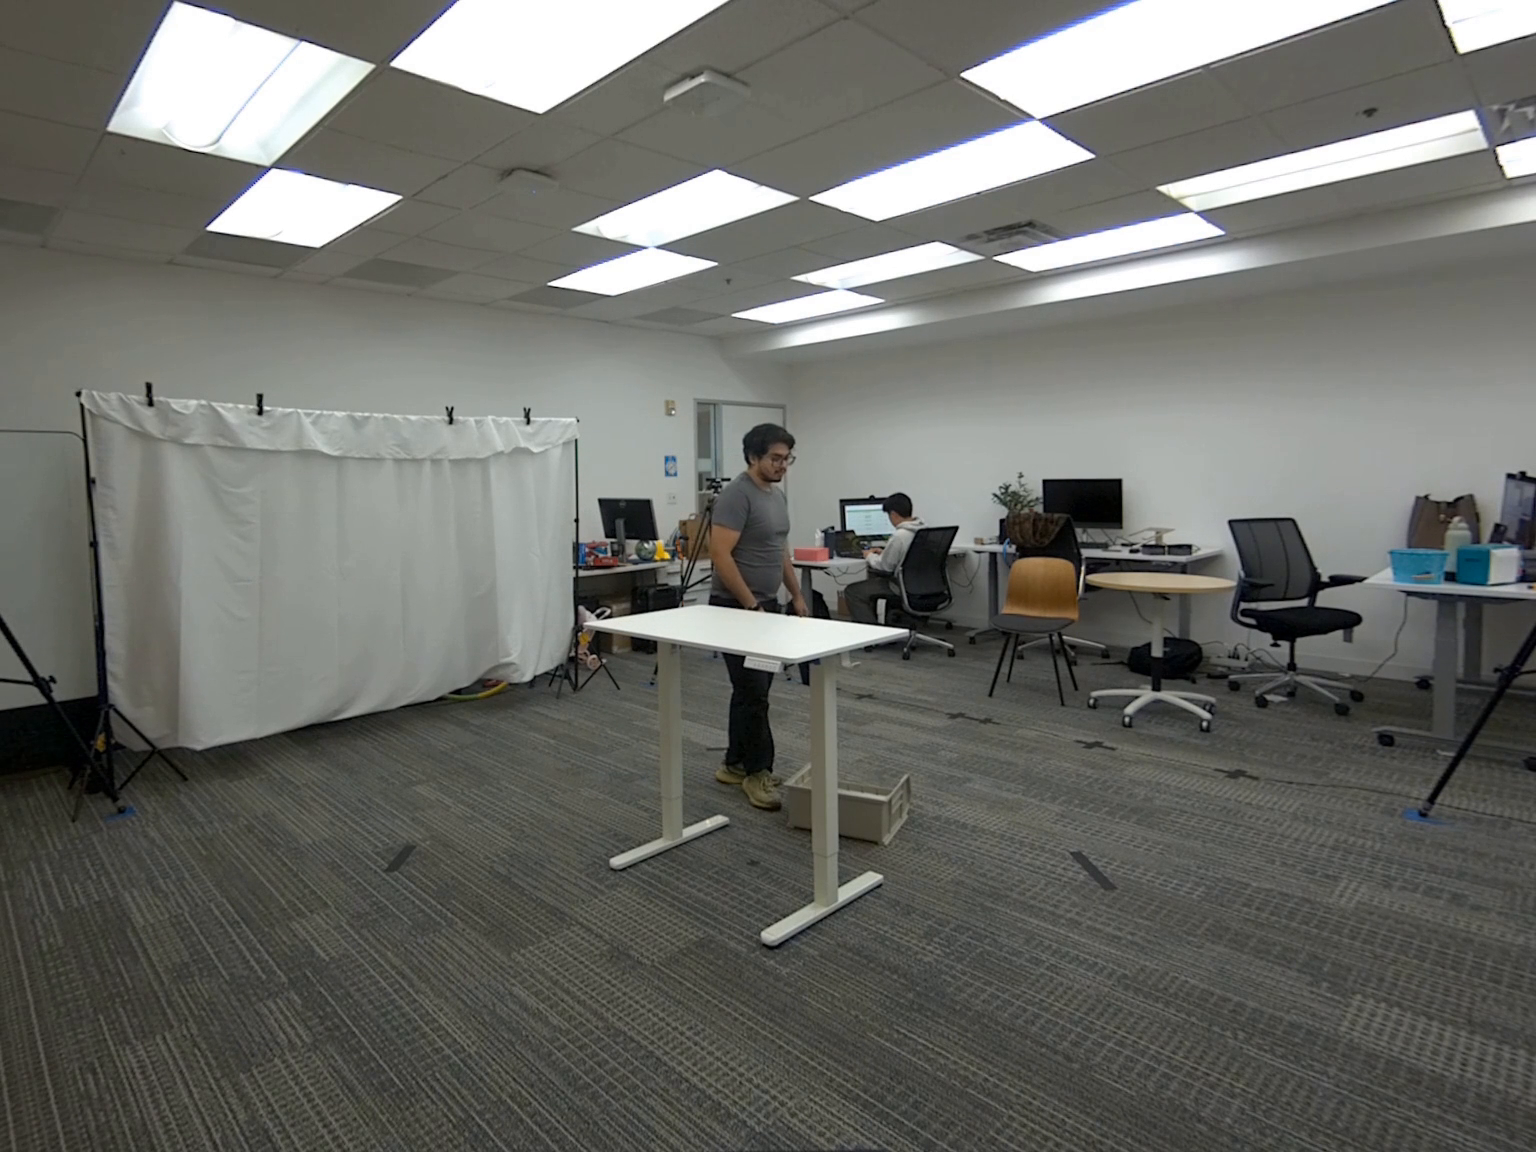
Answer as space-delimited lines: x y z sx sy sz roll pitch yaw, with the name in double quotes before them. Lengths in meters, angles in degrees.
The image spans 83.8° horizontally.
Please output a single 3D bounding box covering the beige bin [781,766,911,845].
"beige bin" 0.328 0.907 3.475 0.432 0.188 0.370 2 7 25
